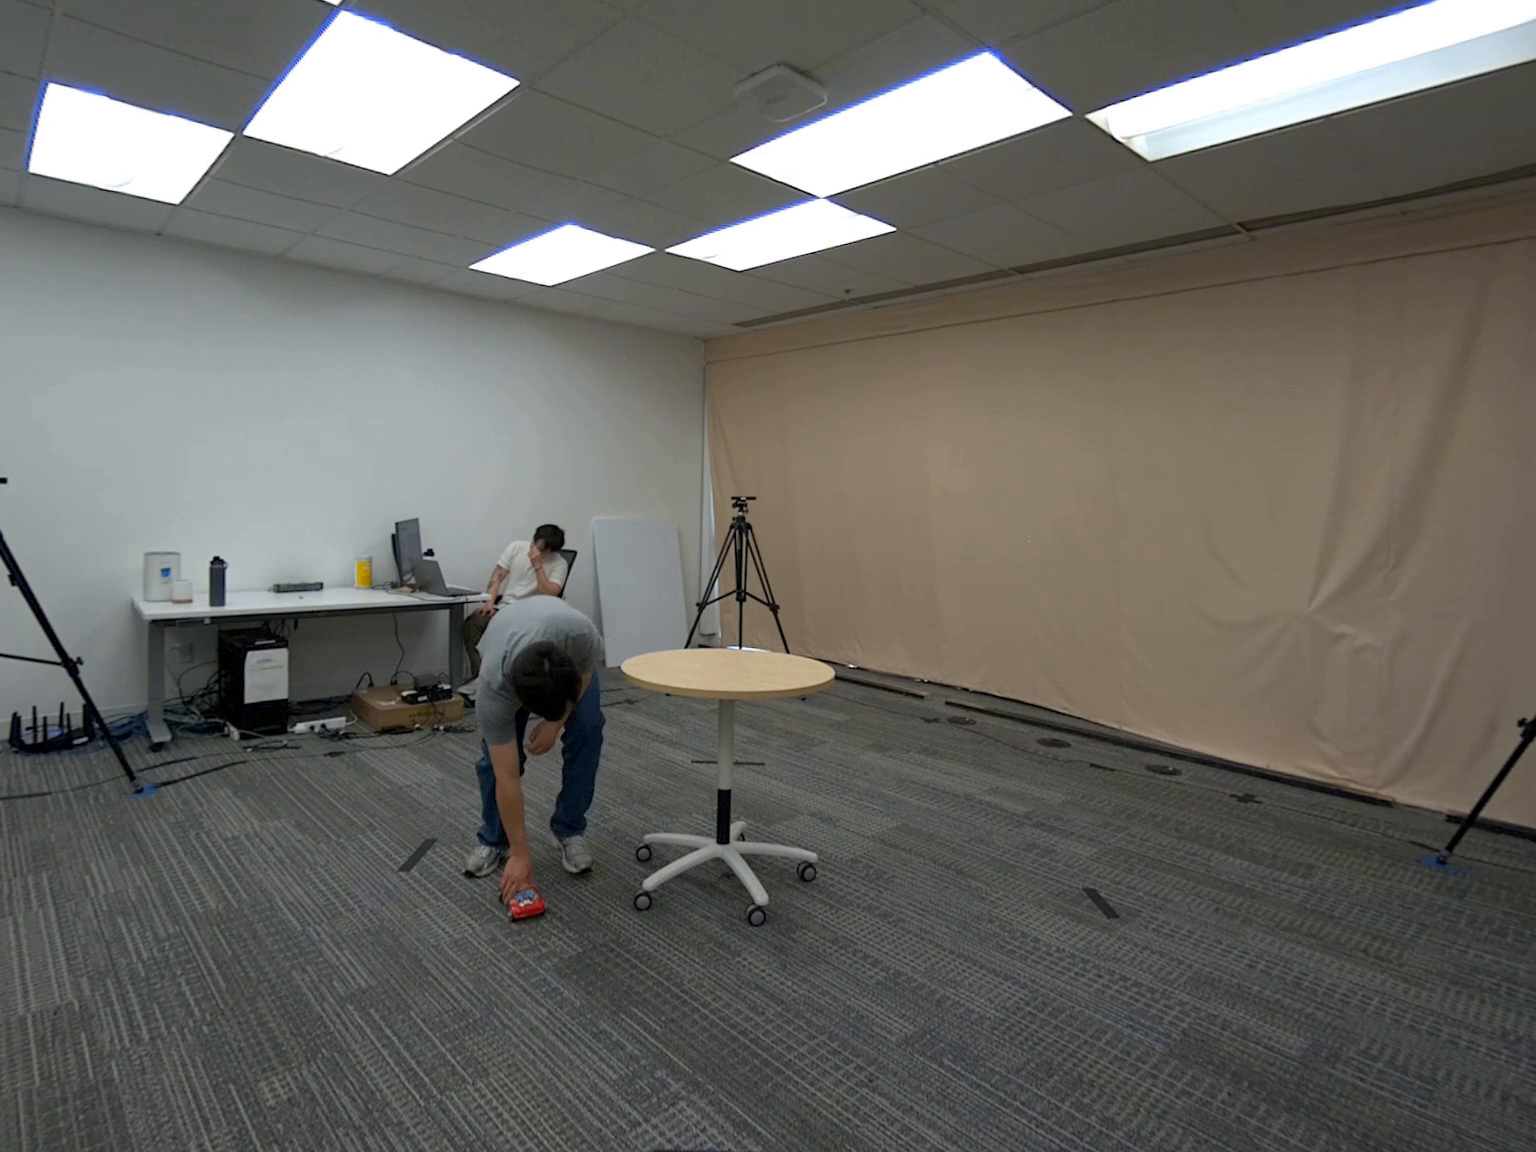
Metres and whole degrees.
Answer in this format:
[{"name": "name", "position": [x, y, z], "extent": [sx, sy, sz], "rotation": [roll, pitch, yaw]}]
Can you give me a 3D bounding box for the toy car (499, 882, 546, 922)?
[{"name": "toy car", "position": [-0.852, 1.090, 2.839], "extent": [0.128, 0.082, 0.262], "rotation": [-2, 16, -28]}]
